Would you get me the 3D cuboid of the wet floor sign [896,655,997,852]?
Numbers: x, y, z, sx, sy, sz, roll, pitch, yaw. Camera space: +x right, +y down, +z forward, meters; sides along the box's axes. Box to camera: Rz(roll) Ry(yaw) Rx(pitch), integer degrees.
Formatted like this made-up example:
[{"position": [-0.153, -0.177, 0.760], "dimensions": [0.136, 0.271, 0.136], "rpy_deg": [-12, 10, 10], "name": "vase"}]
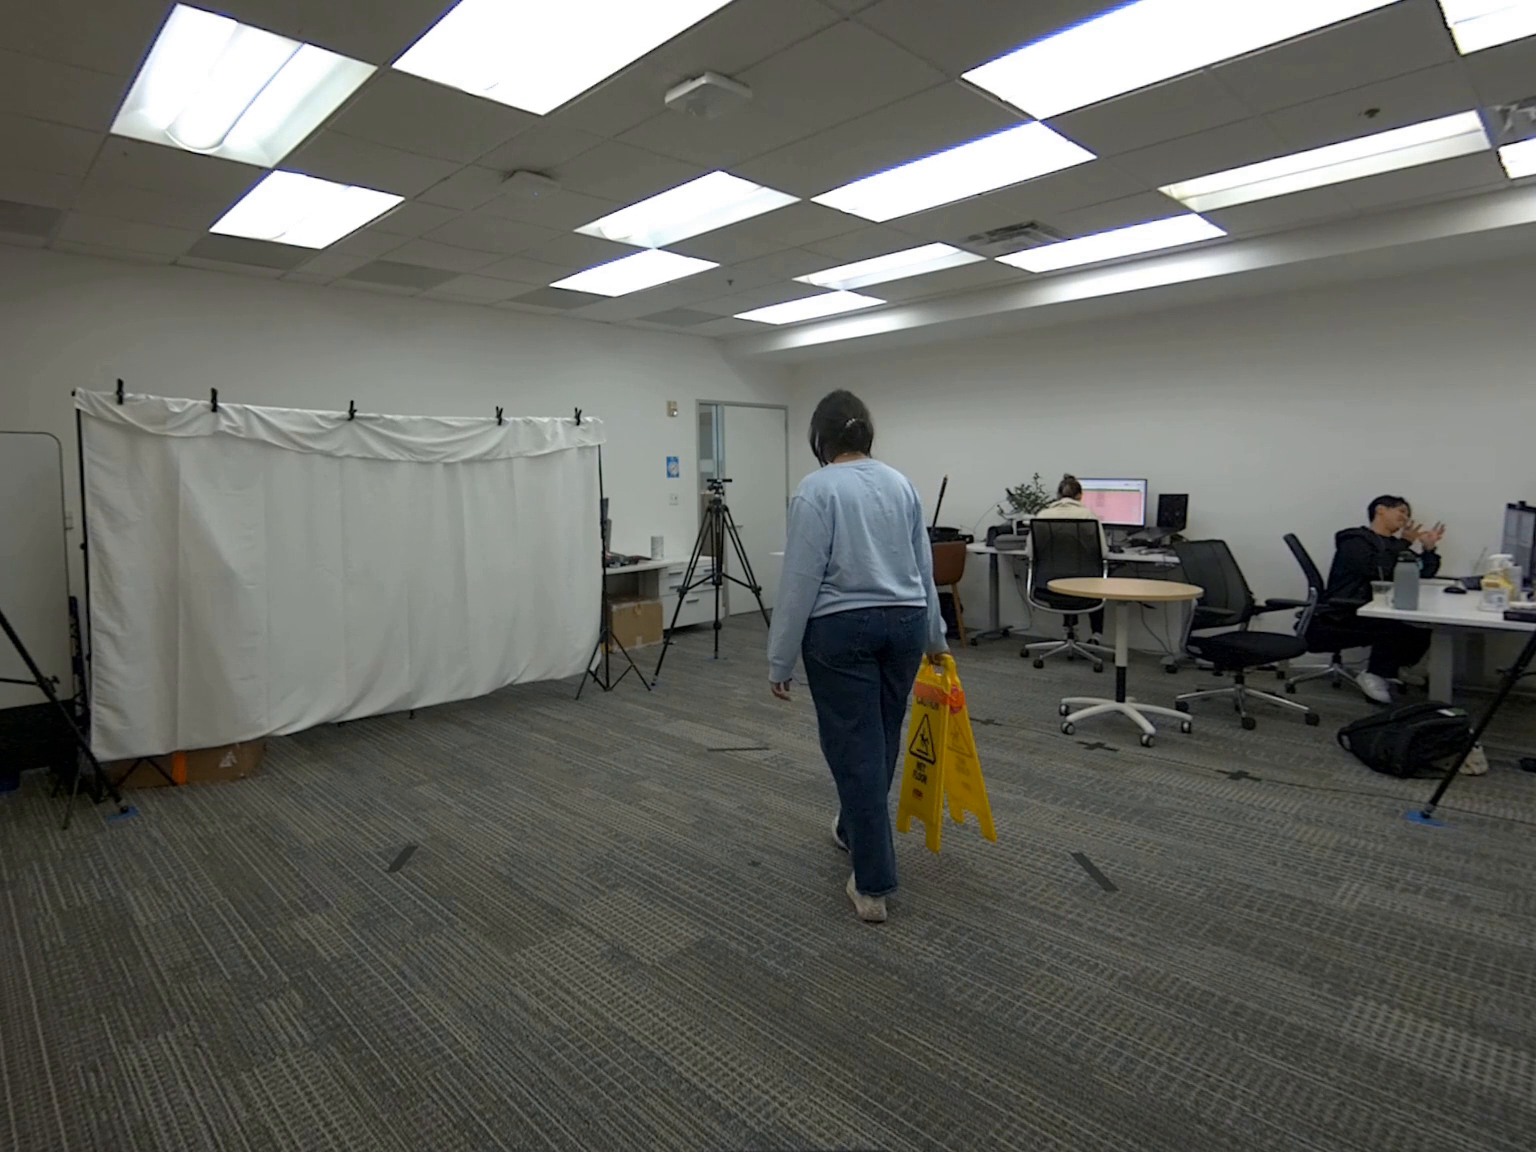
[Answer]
[{"position": [0.616, 0.596, 3.044], "dimensions": [0.285, 0.647, 0.286], "rpy_deg": [-2, -1, -18], "name": "wet floor sign"}]
